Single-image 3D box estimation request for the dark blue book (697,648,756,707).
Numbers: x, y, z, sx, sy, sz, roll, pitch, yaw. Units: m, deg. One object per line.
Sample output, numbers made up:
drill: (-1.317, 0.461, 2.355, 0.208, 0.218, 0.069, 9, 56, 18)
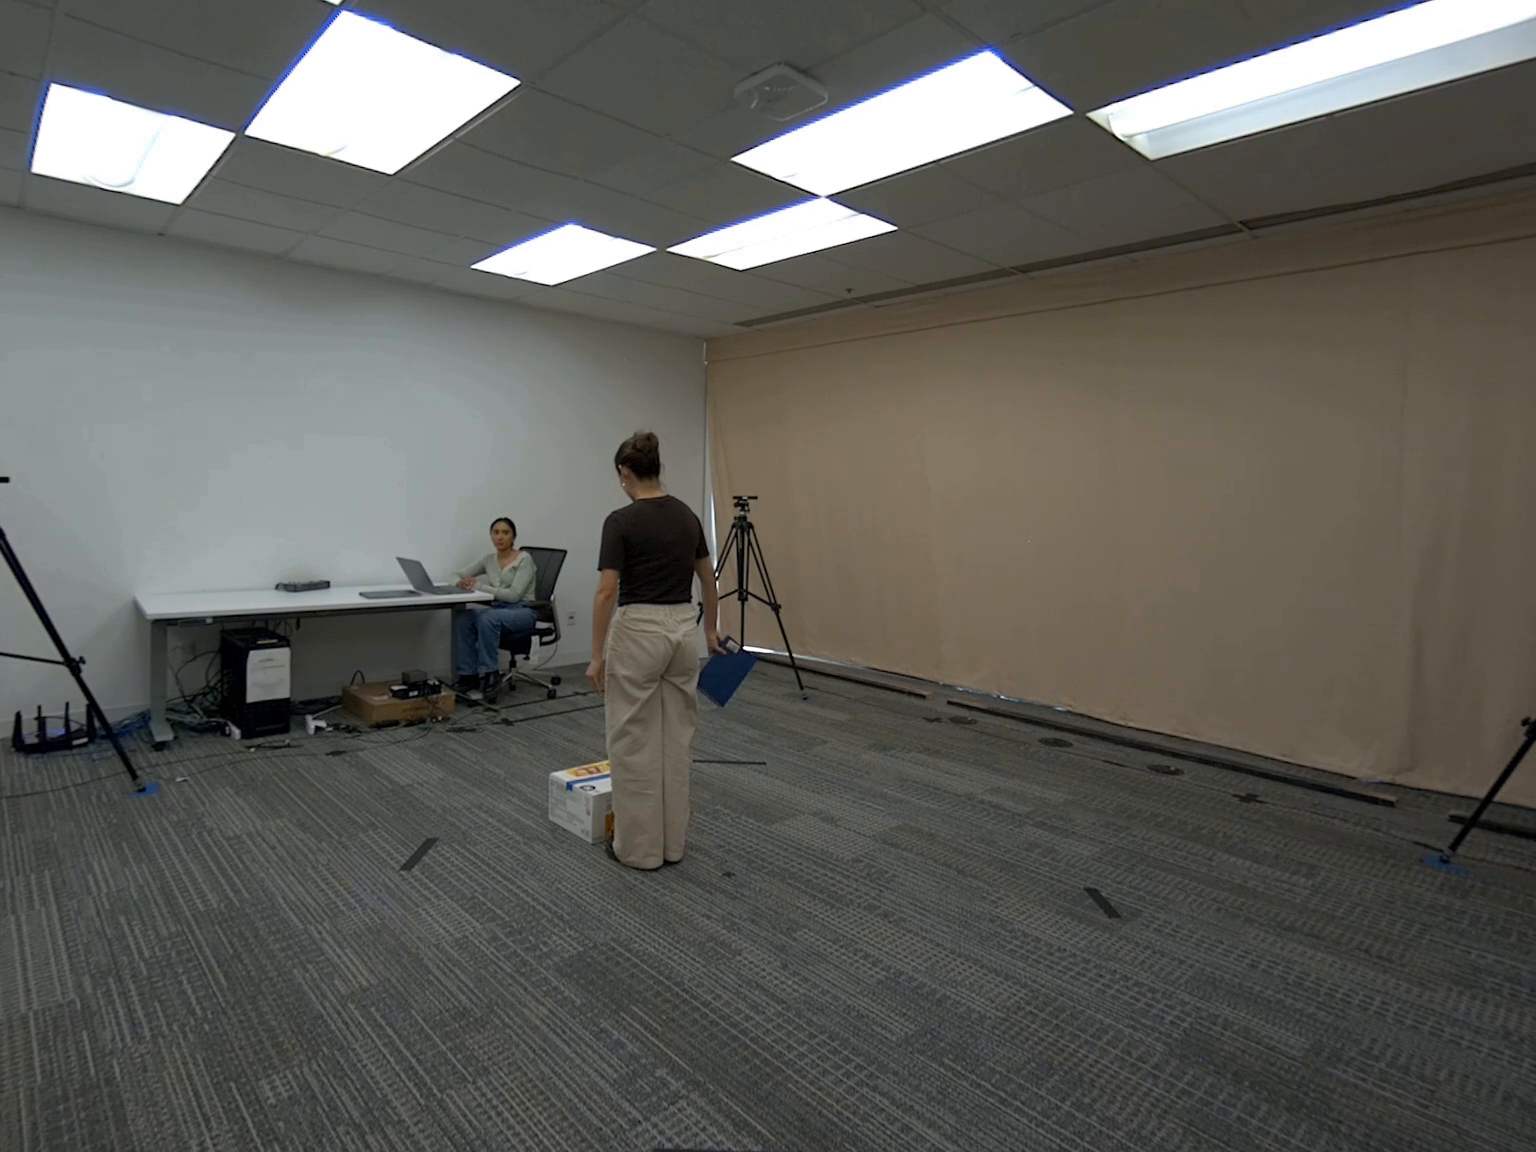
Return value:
dark blue book: (-0.191, 0.381, 3.403, 0.163, 0.245, 0.045, 39, -15, -4)
